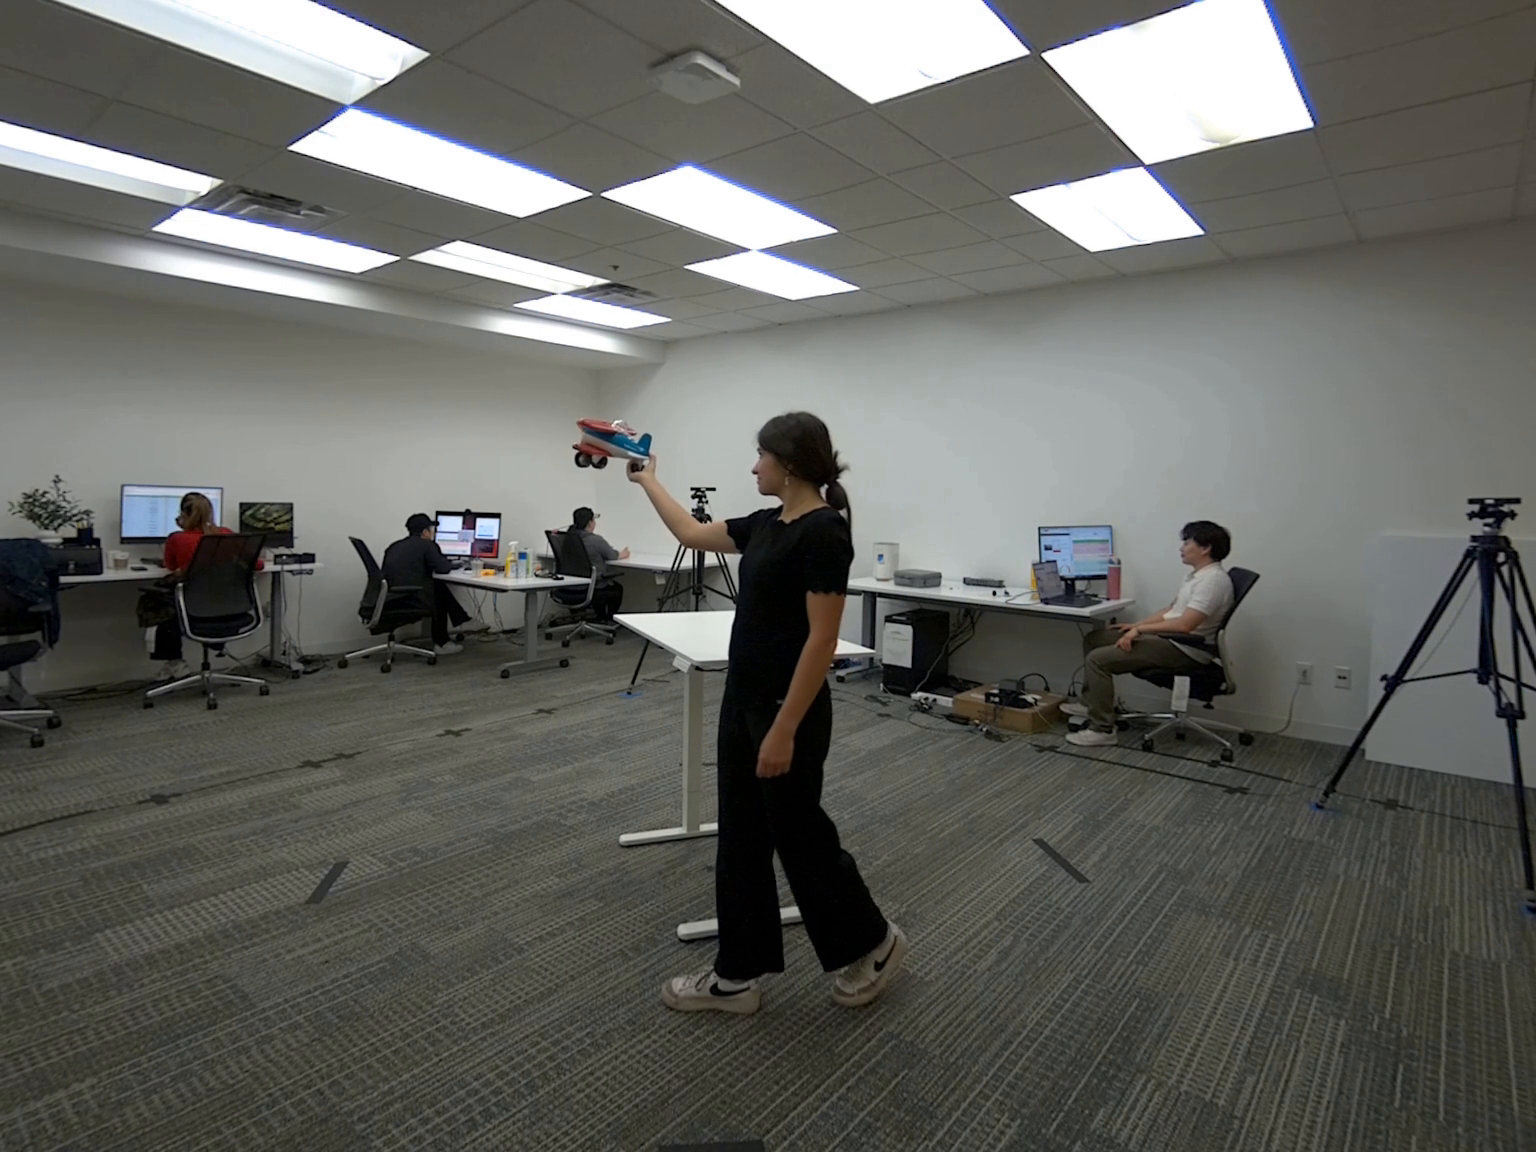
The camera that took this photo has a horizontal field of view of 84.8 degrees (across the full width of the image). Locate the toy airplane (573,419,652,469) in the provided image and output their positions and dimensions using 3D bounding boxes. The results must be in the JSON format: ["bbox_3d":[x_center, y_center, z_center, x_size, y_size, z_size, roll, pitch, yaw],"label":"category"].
[{"bbox_3d":[-0.483,-0.413,2.708,0.259,0.155,0.253,6,8,-3],"label":"toy airplane"}]
